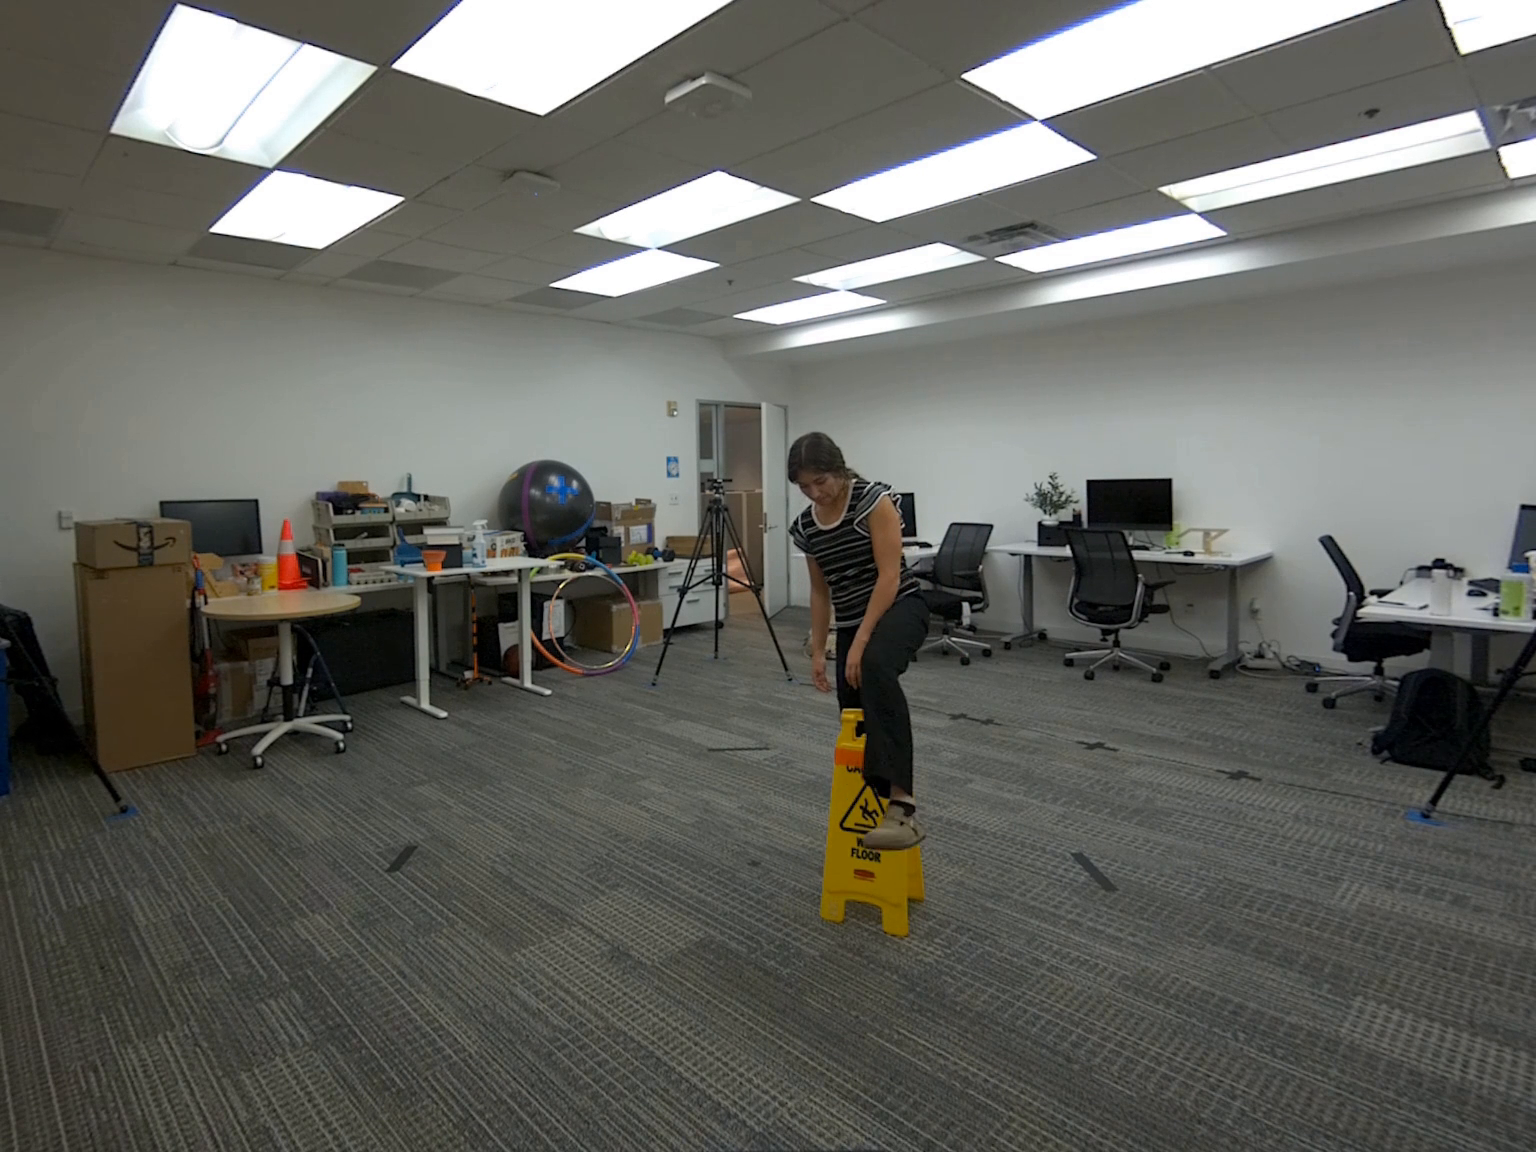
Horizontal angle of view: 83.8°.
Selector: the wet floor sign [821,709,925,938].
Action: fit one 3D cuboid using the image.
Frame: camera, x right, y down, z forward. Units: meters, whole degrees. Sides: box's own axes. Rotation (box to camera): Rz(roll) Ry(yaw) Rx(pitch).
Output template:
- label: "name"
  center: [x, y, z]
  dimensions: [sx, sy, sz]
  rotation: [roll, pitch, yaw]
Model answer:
- label: "wet floor sign"
  center: [0.340, 0.760, 2.735]
  dimensions: [0.288, 0.643, 0.285]
  rotation: [0, 5, 23]
